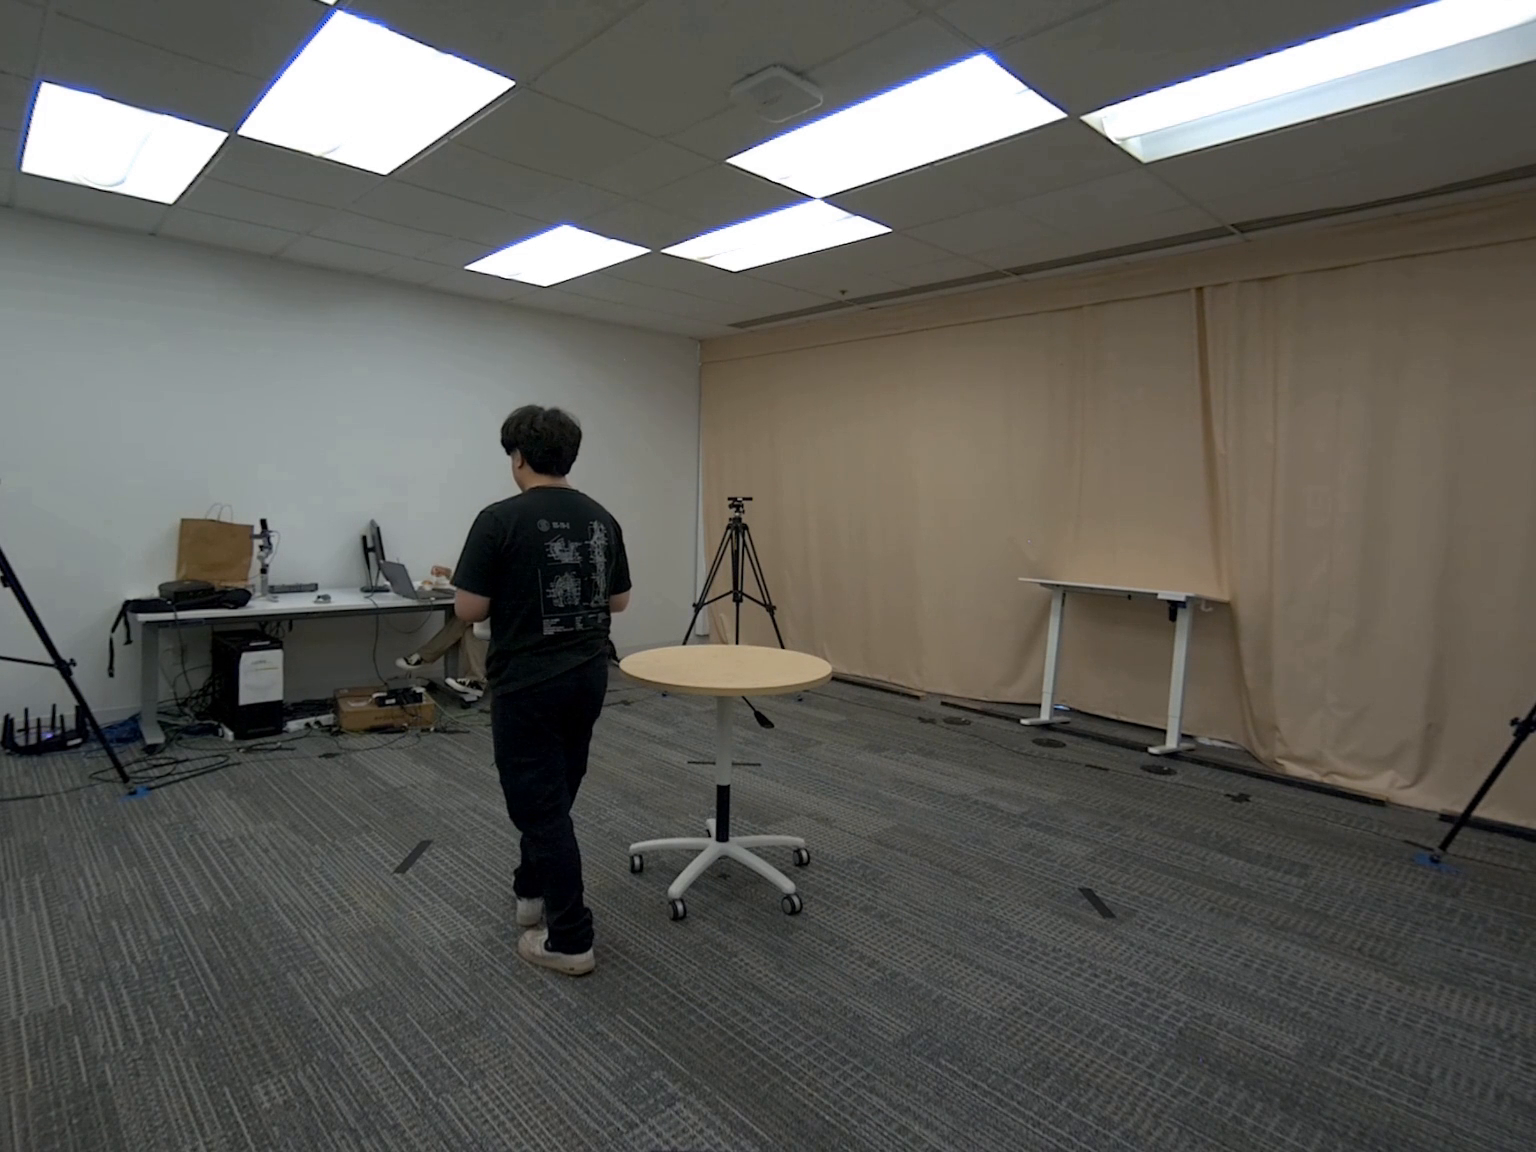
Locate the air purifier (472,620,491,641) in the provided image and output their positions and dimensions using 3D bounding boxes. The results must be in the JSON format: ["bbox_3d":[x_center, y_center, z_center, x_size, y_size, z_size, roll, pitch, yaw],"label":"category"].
[{"bbox_3d":[-0.854,0.071,2.739,0.173,0.265,0.170,3,0,8],"label":"air purifier"}]
